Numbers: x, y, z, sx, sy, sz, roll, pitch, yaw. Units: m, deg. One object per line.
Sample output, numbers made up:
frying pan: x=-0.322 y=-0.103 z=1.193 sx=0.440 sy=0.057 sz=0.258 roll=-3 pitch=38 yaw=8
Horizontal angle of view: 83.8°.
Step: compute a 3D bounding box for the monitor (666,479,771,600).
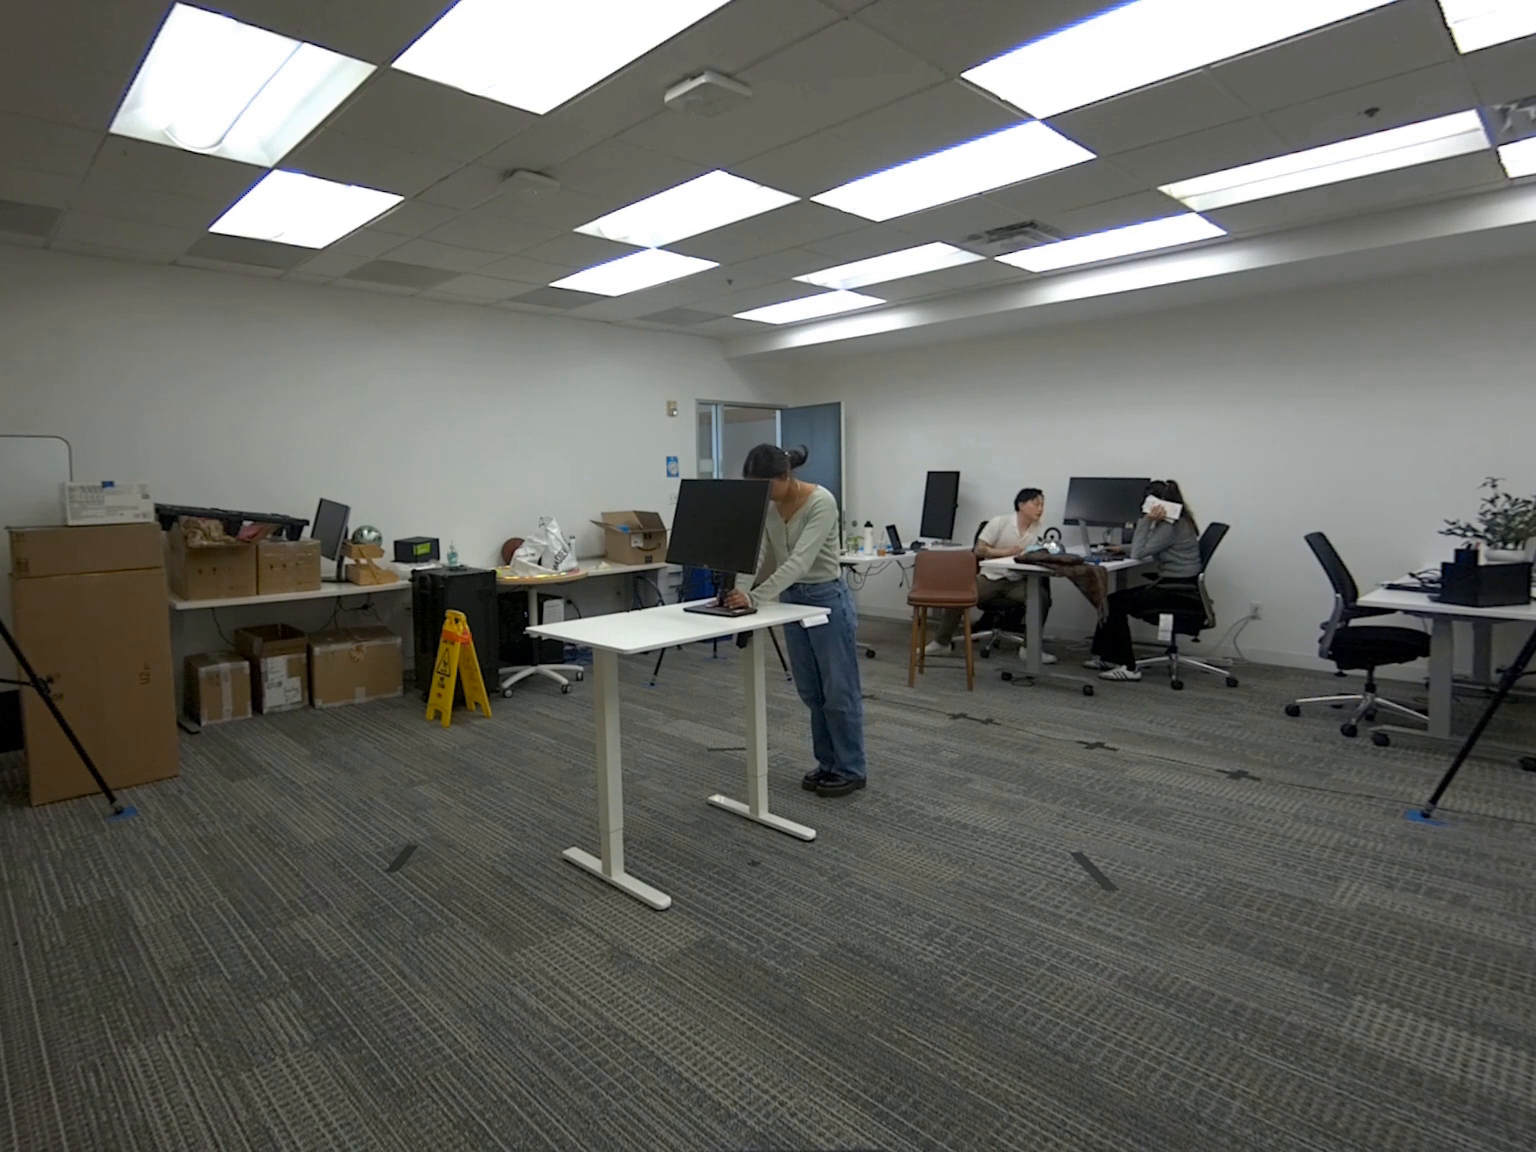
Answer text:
monitor: x=-0.180 y=-0.115 z=3.307 sx=0.182 sy=0.520 sz=0.556 roll=-4 pitch=7 yaw=-42
